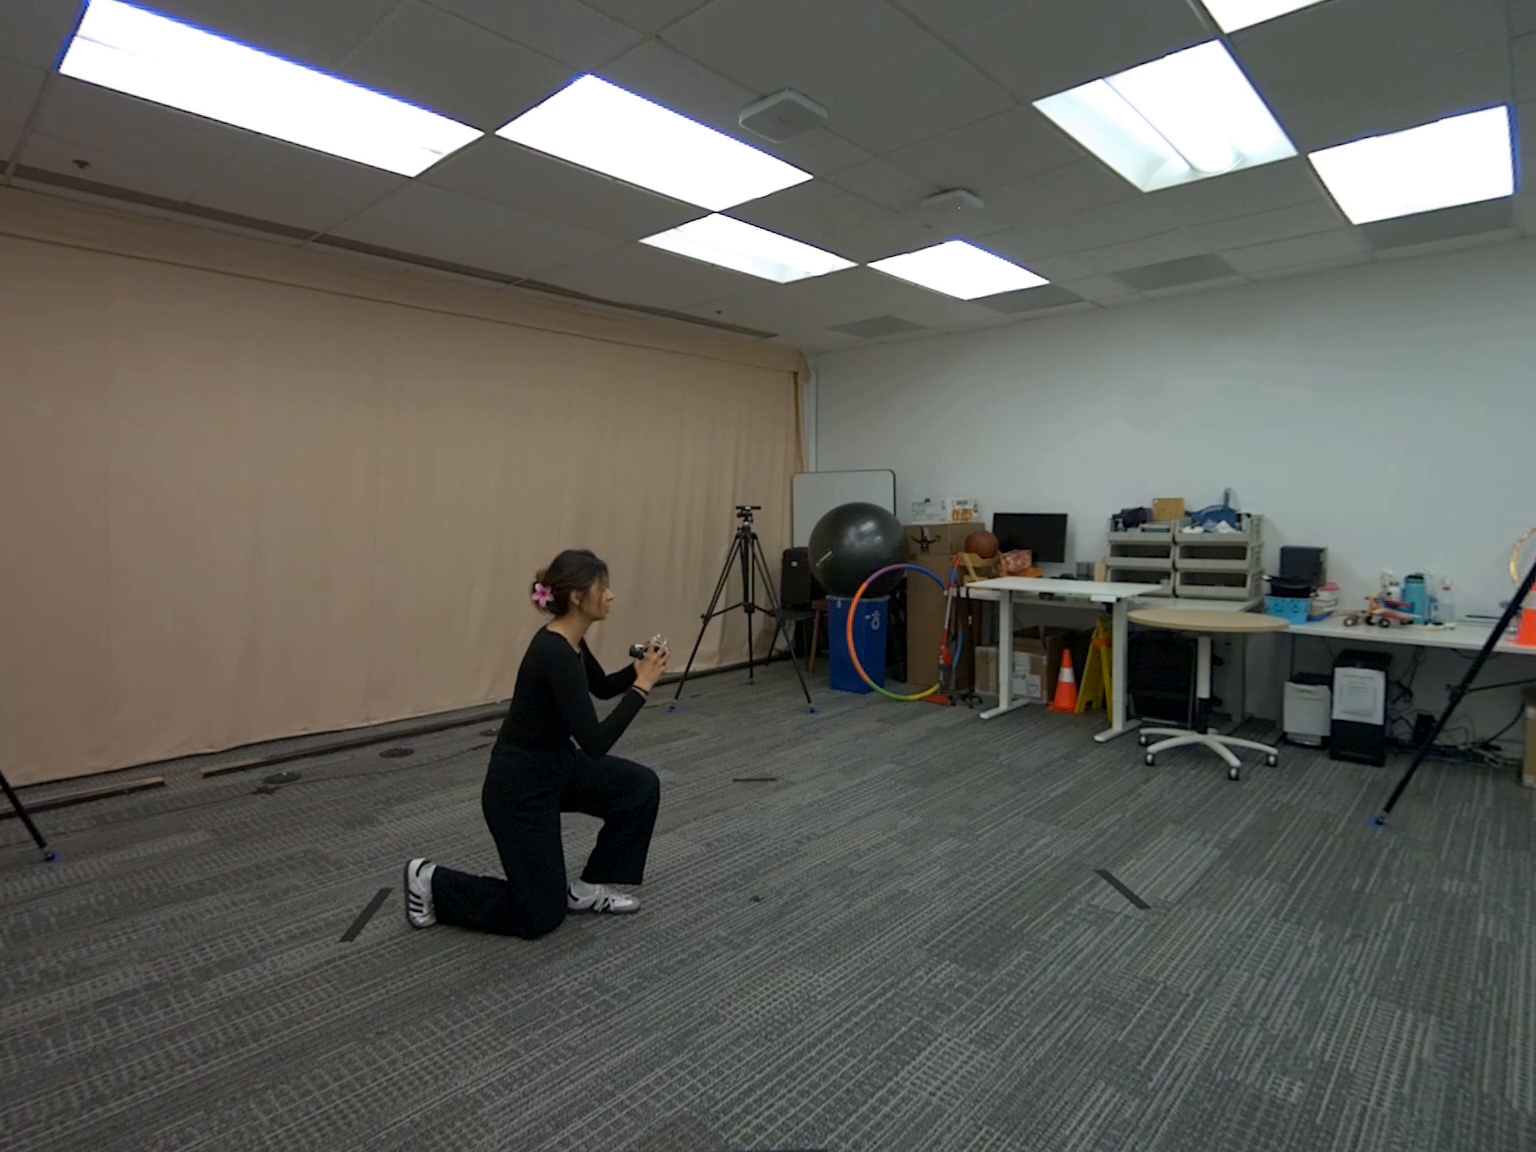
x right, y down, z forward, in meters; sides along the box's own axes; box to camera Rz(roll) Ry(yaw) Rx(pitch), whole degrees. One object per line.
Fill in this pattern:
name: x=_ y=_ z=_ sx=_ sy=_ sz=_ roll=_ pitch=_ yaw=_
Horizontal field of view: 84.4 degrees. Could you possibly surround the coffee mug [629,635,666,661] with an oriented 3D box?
coffee mug: x=-0.384 y=0.246 z=2.815 sx=0.120 sy=0.088 sz=0.205 roll=38 pitch=6 yaw=-12
